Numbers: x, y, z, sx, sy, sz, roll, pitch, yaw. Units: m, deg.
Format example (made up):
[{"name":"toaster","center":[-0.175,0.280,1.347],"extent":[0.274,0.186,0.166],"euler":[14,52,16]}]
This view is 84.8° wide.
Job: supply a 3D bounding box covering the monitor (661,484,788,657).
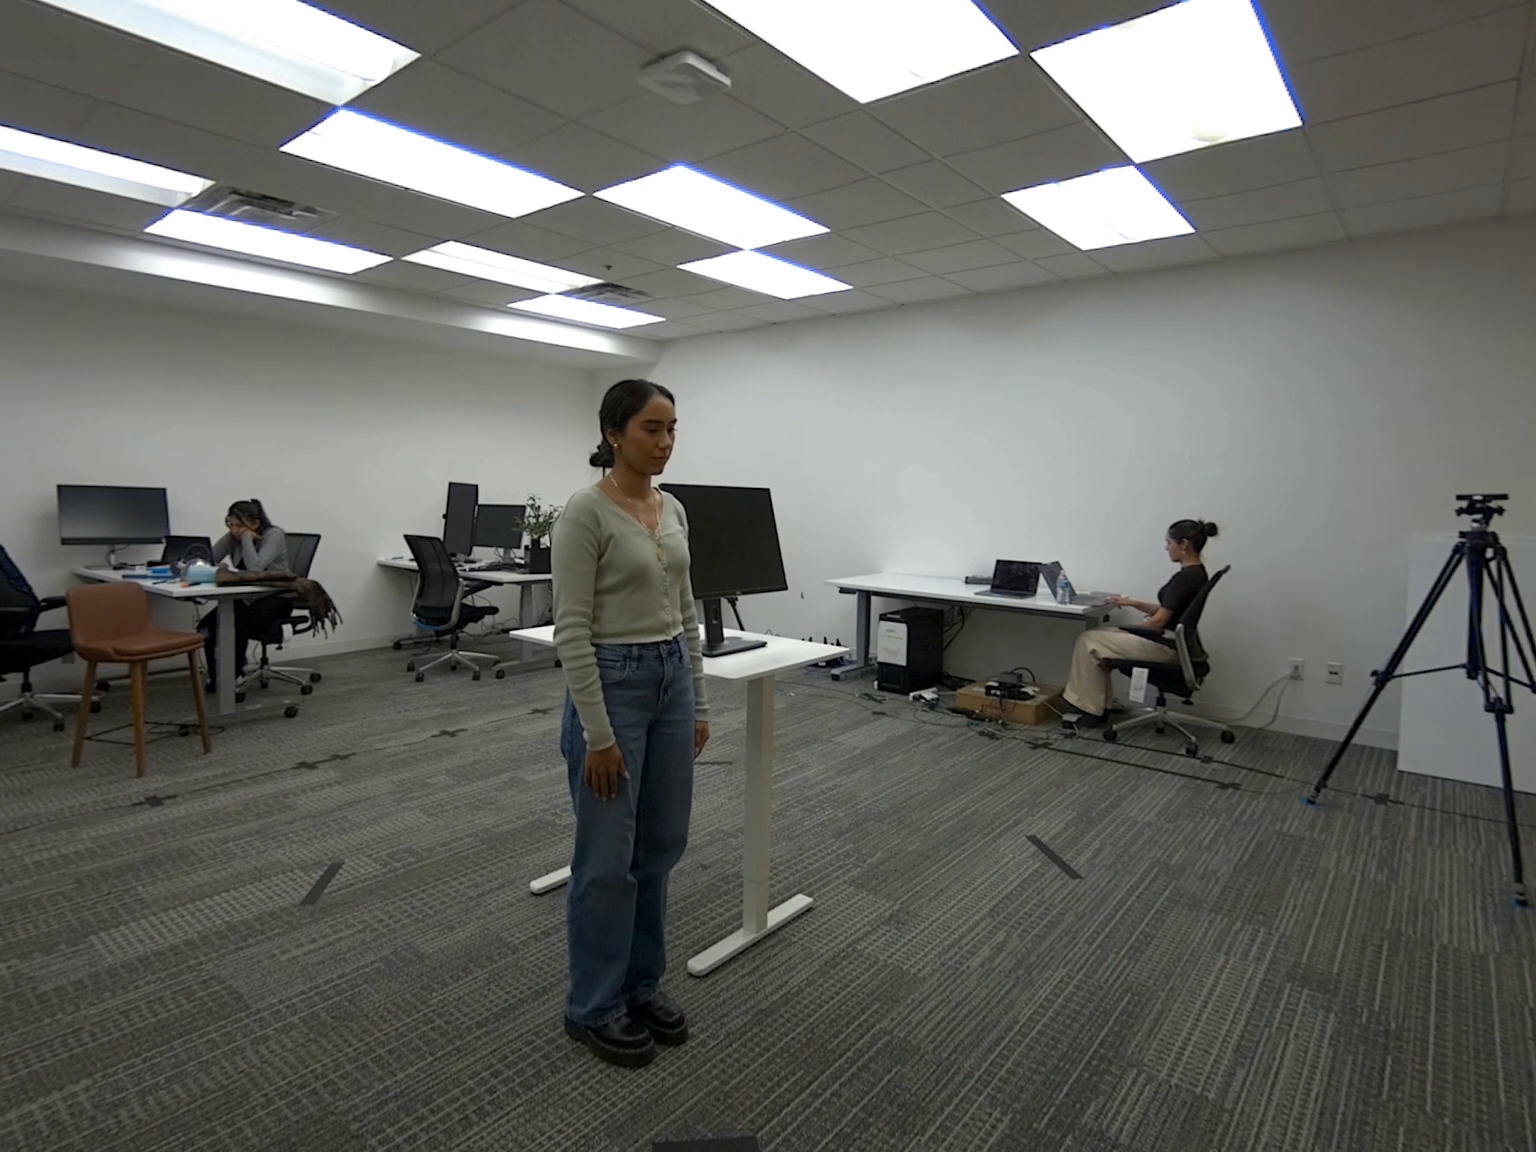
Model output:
[{"name":"monitor","center":[-0.163,-0.024,2.696],"extent":[0.193,0.522,0.523],"euler":[0,2,38]}]
